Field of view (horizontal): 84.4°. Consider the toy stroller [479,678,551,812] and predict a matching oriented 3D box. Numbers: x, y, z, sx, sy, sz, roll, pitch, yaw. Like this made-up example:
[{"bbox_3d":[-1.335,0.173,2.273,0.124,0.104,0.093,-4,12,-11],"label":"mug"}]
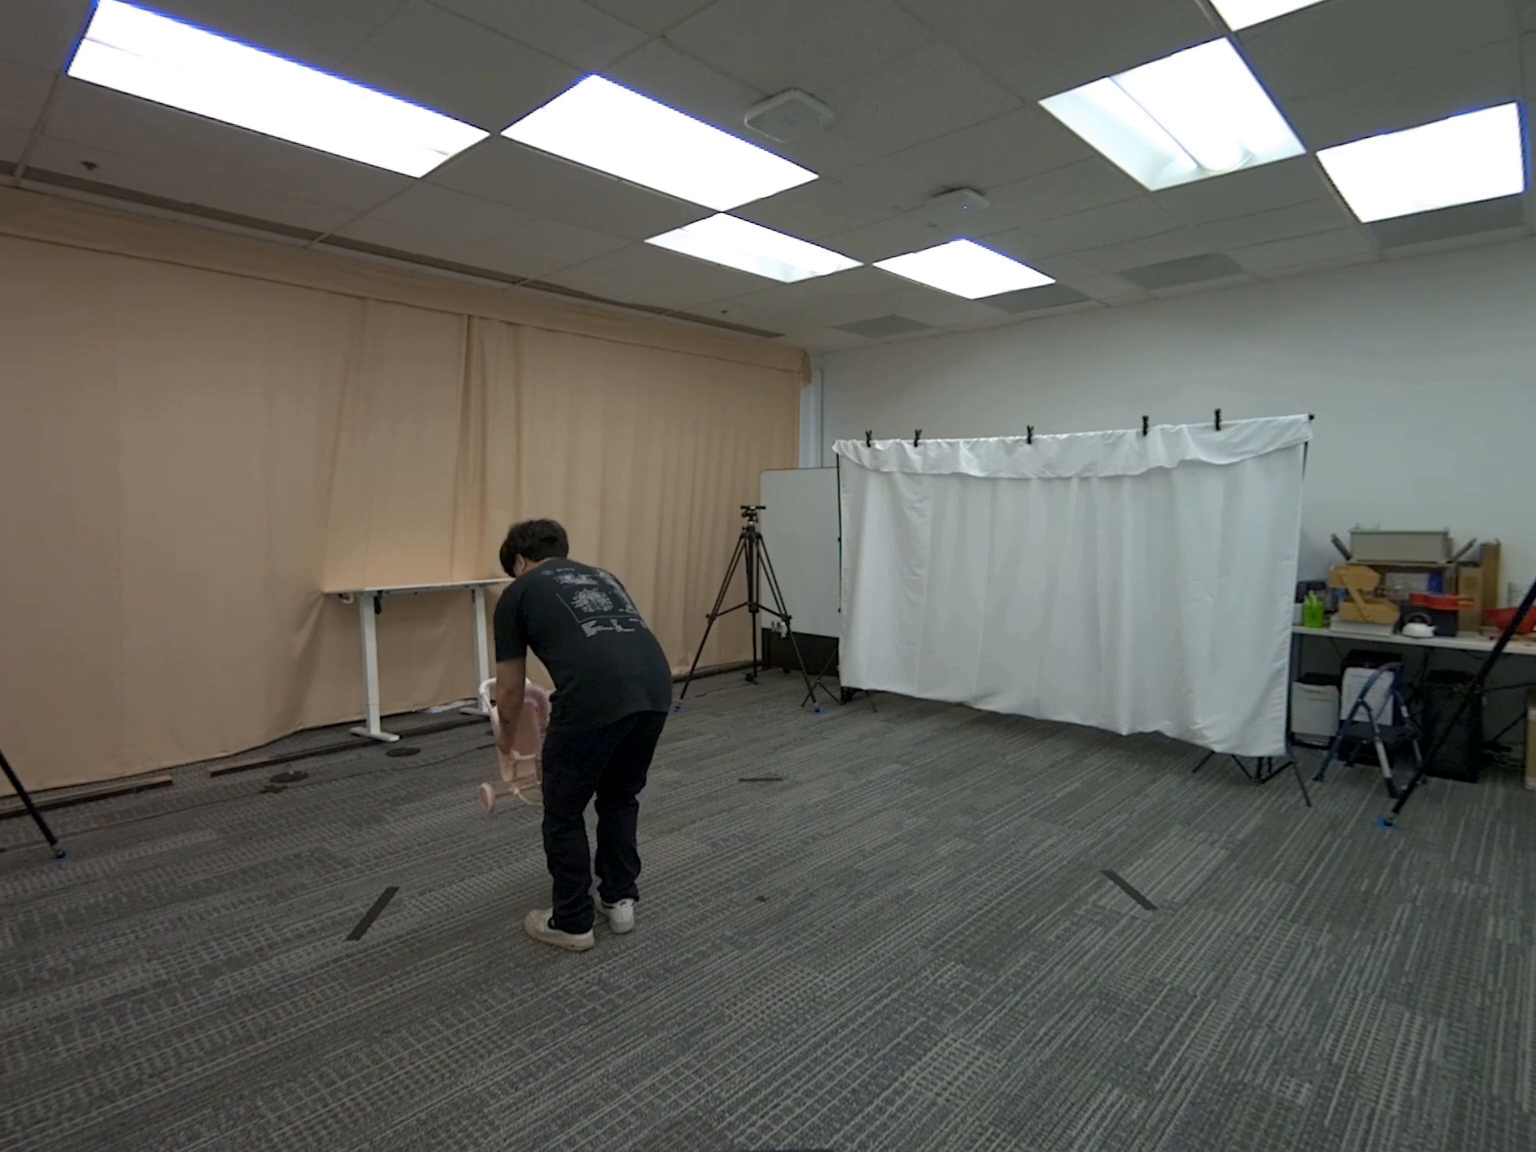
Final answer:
[{"bbox_3d":[-0.881,0.638,3.069,0.273,0.536,0.350,-4,-4,-38],"label":"toy stroller"}]
